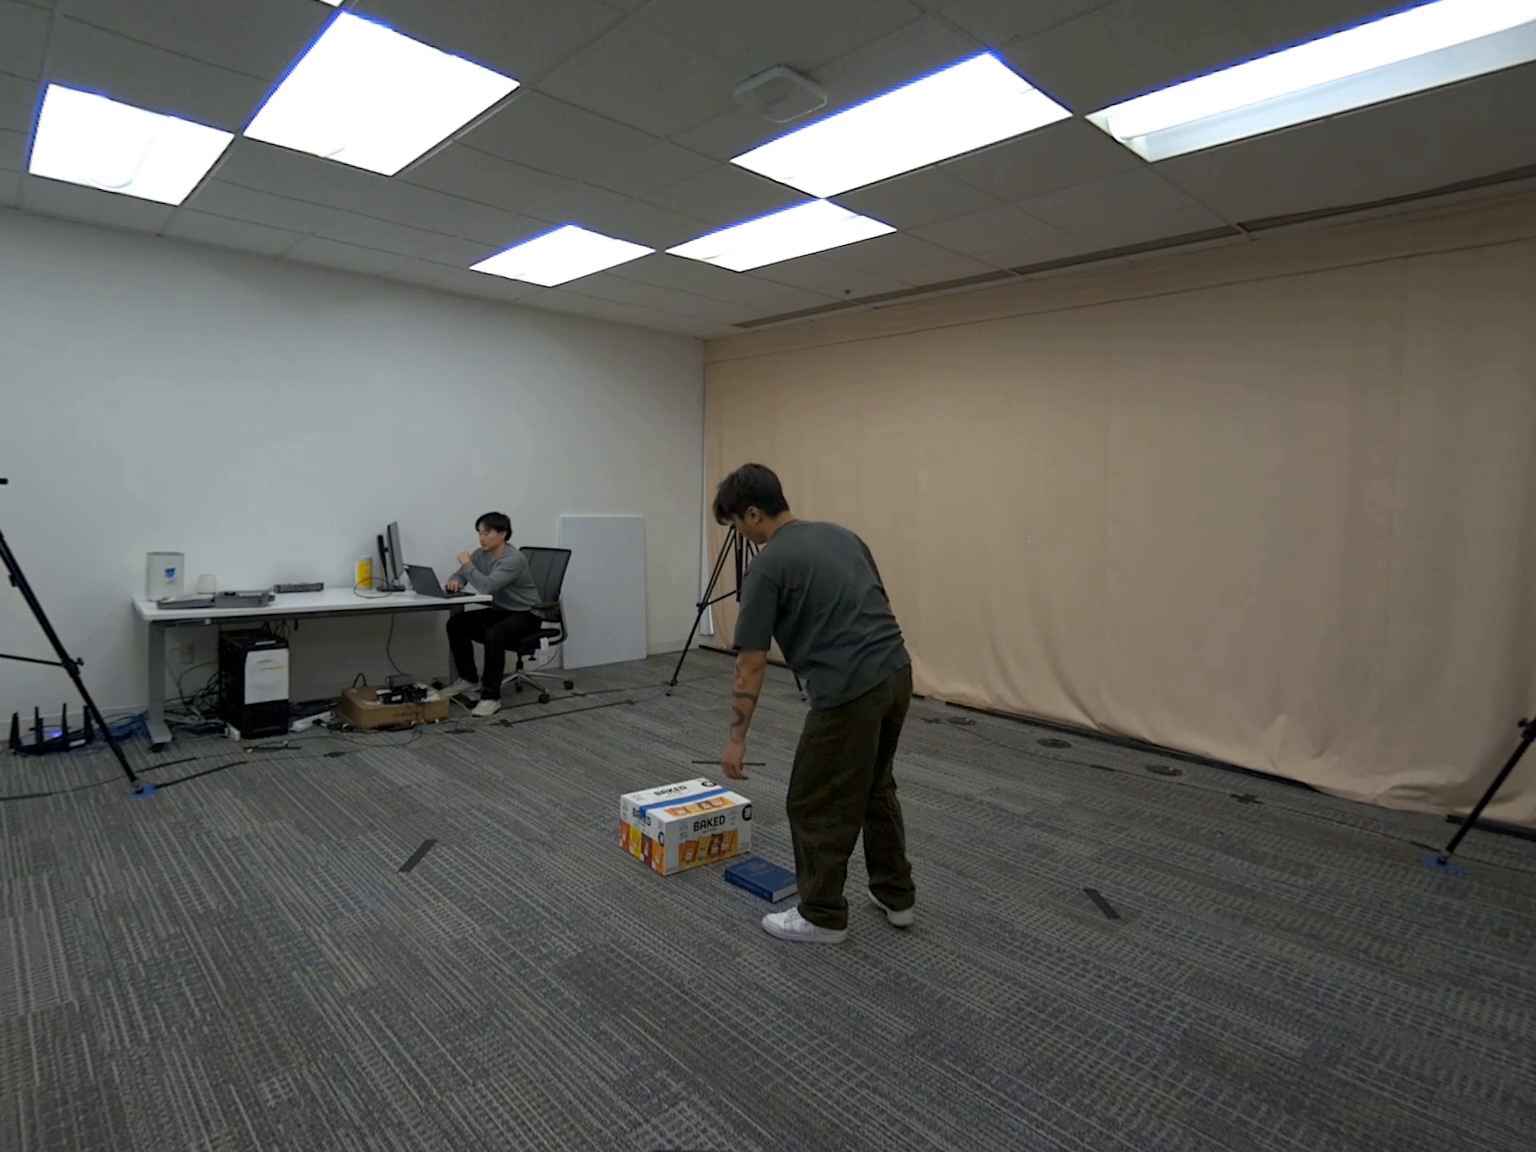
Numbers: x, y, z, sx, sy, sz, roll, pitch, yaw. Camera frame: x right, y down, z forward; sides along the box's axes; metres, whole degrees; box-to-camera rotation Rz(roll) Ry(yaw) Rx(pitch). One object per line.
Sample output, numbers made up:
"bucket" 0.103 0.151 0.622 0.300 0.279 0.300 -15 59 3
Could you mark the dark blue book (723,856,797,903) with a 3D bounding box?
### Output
"dark blue book" -0.023 1.093 3.028 0.160 0.045 0.251 -4 7 -44
